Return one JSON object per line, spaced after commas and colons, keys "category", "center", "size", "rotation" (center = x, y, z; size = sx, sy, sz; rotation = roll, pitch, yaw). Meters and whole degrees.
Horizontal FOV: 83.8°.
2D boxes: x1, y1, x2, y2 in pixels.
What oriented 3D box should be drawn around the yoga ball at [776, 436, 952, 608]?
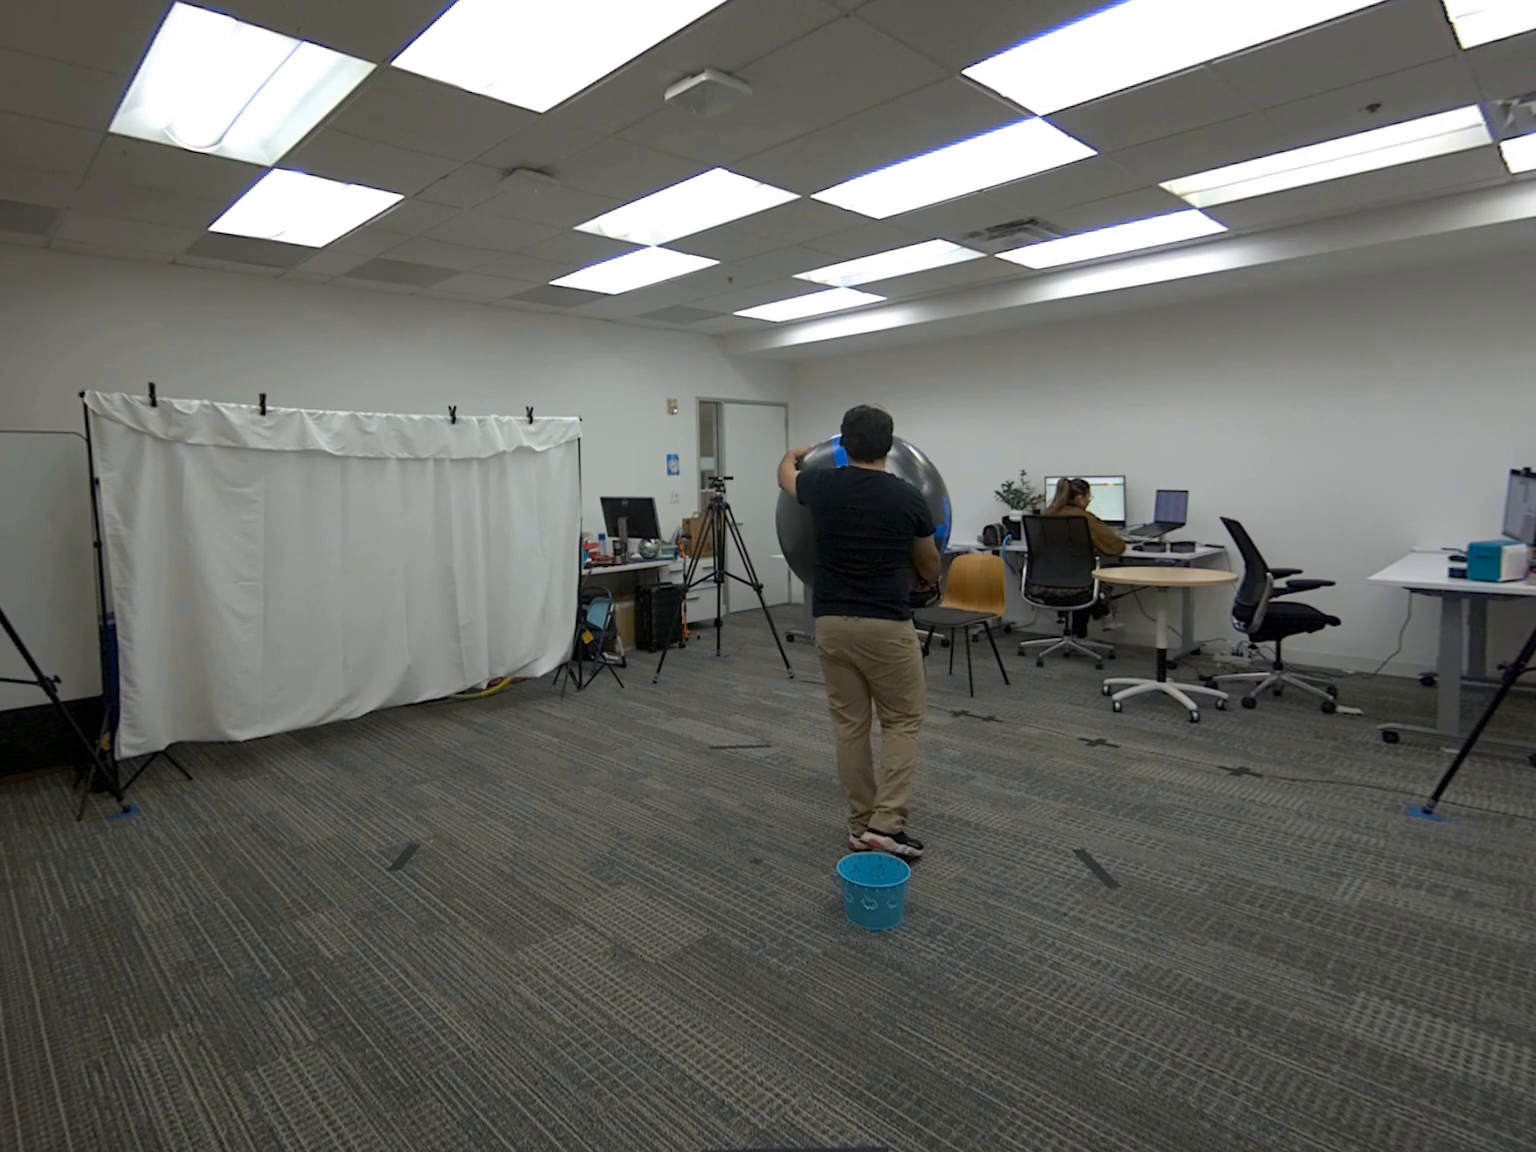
{"category": "yoga ball", "center": [0.422, -0.252, 3.746], "size": [0.757, 0.755, 0.762], "rotation": [-1, 5, -2]}
